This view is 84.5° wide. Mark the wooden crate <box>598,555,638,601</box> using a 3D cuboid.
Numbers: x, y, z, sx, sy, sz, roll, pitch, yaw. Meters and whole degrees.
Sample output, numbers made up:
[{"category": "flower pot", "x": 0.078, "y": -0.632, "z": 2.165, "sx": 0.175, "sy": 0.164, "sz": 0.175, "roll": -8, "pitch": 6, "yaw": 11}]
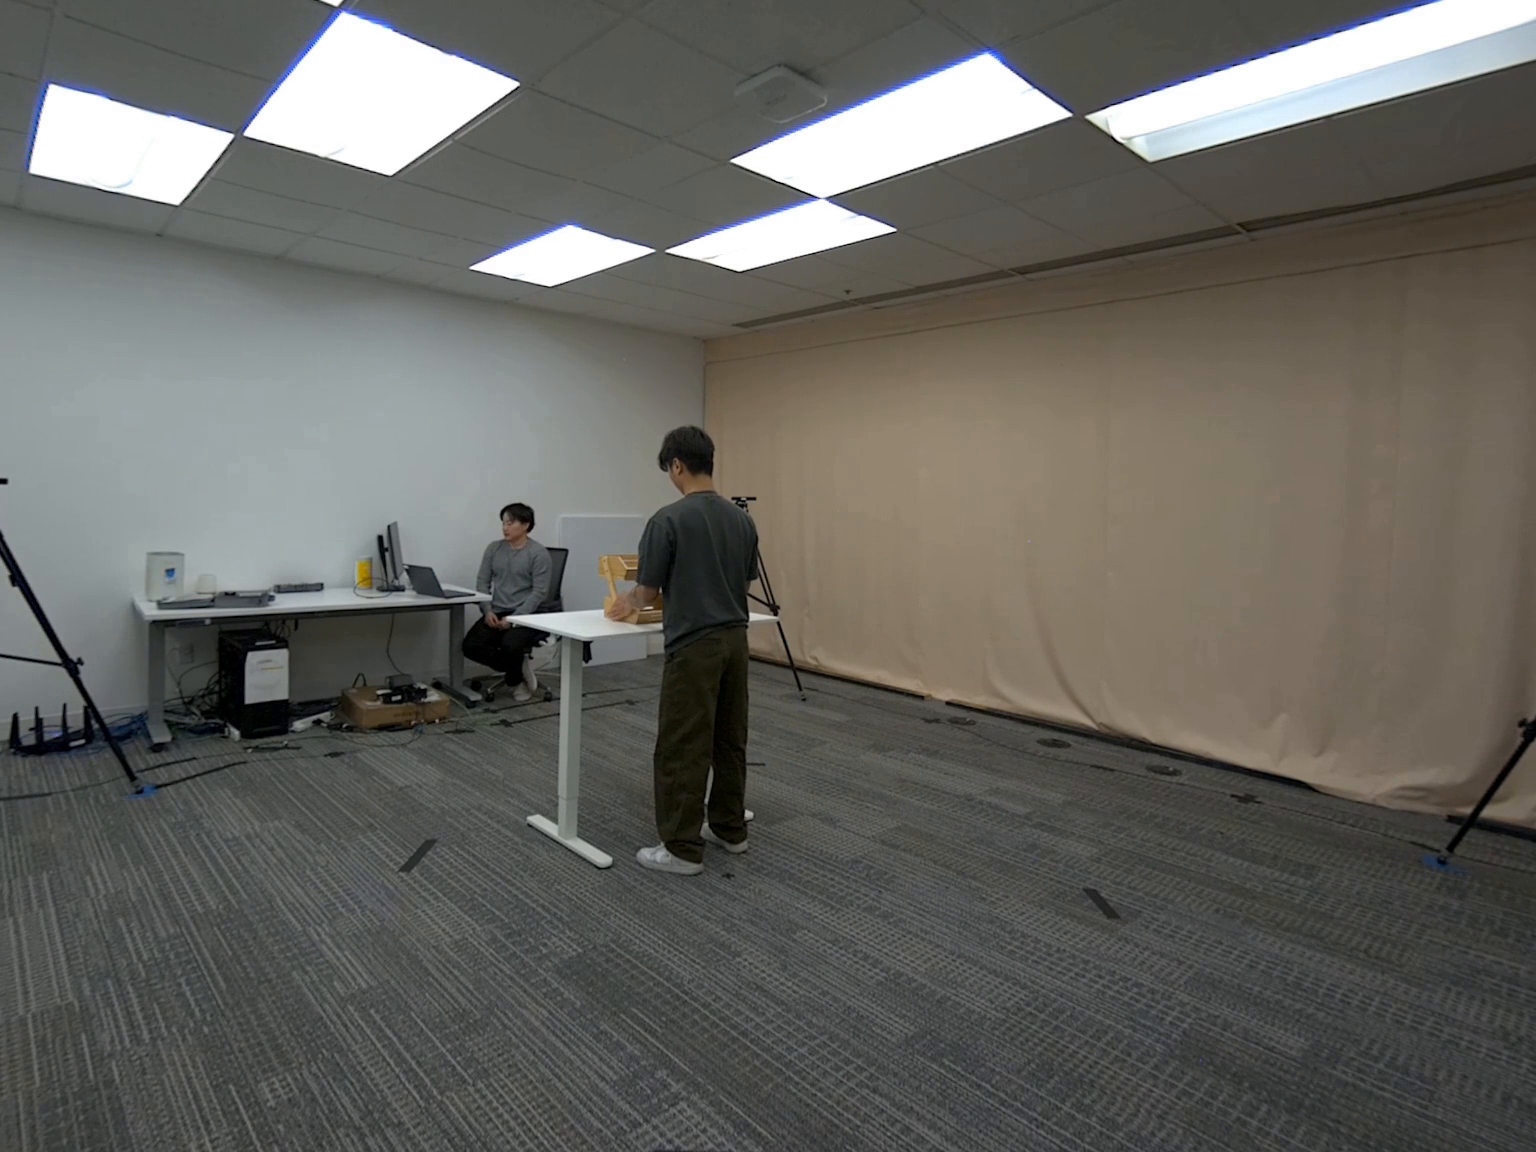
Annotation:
[{"category": "wooden crate", "x": -0.512, "y": 0.046, "z": 3.542, "sx": 0.317, "sy": 0.273, "sz": 0.310, "roll": -2, "pitch": 5, "yaw": -44}]
